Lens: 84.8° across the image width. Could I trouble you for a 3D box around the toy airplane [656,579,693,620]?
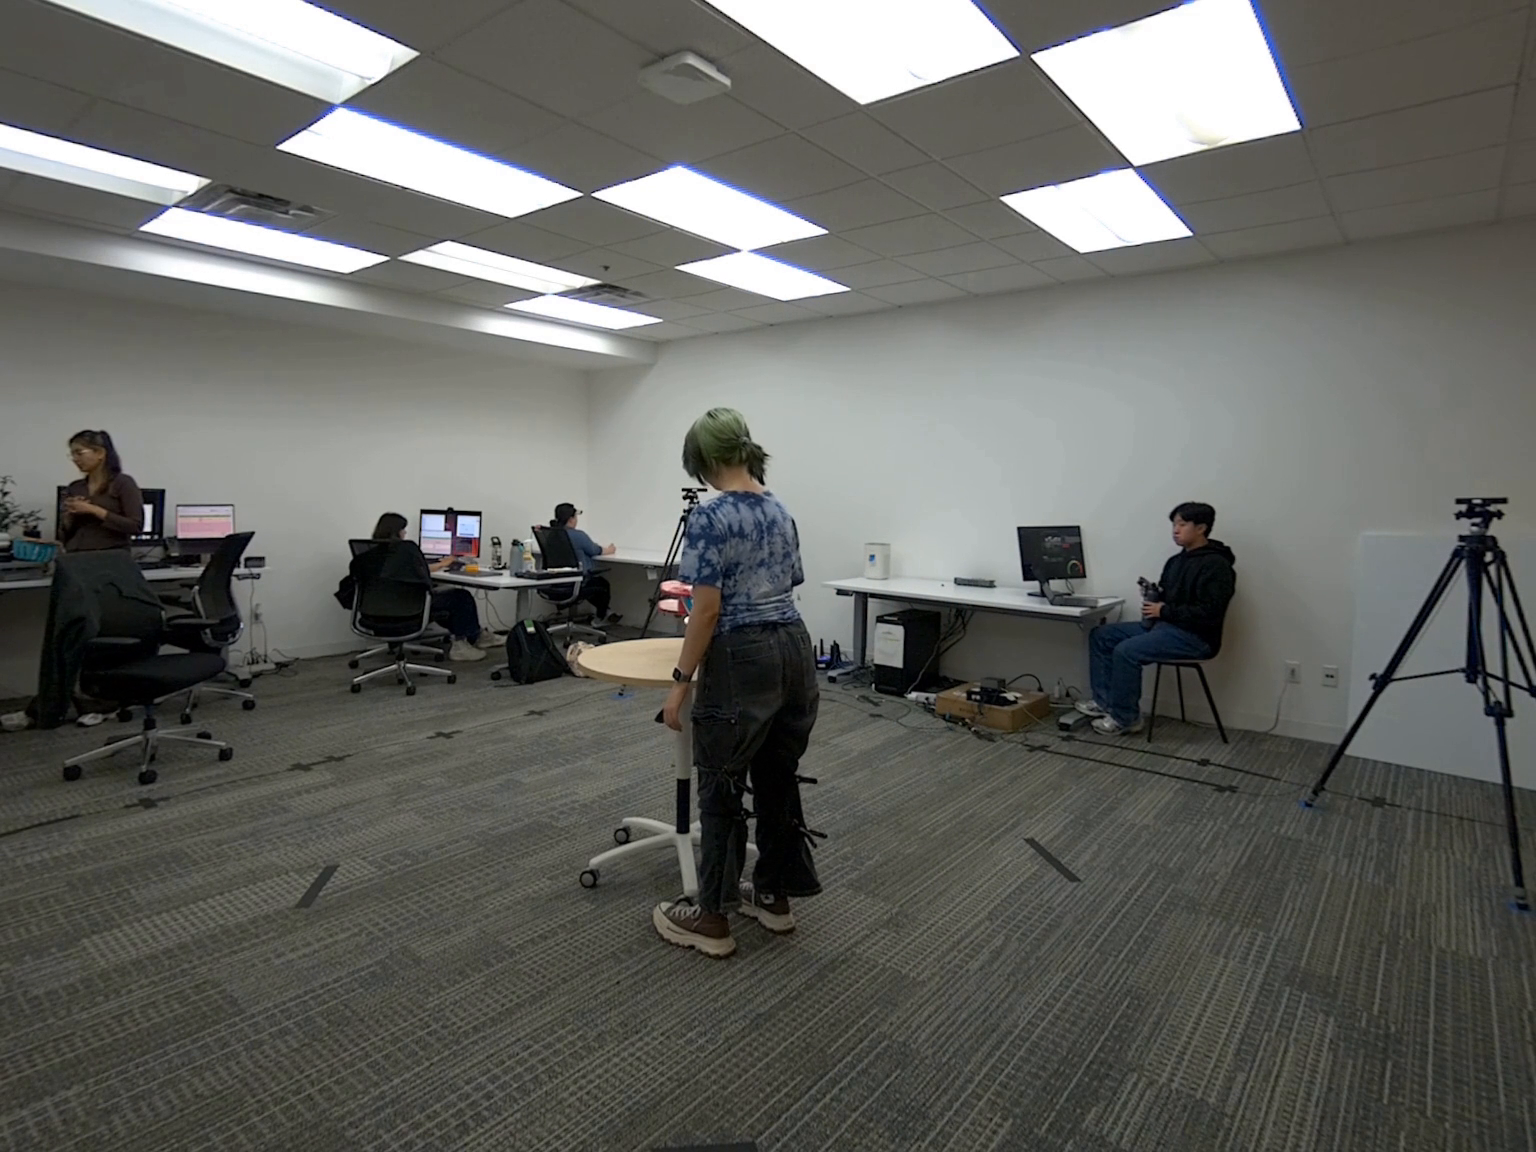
[{"bbox_3d":[-0.256,0.111,3.091,0.244,0.155,0.269,-7,18,-42],"label":"toy airplane"}]
